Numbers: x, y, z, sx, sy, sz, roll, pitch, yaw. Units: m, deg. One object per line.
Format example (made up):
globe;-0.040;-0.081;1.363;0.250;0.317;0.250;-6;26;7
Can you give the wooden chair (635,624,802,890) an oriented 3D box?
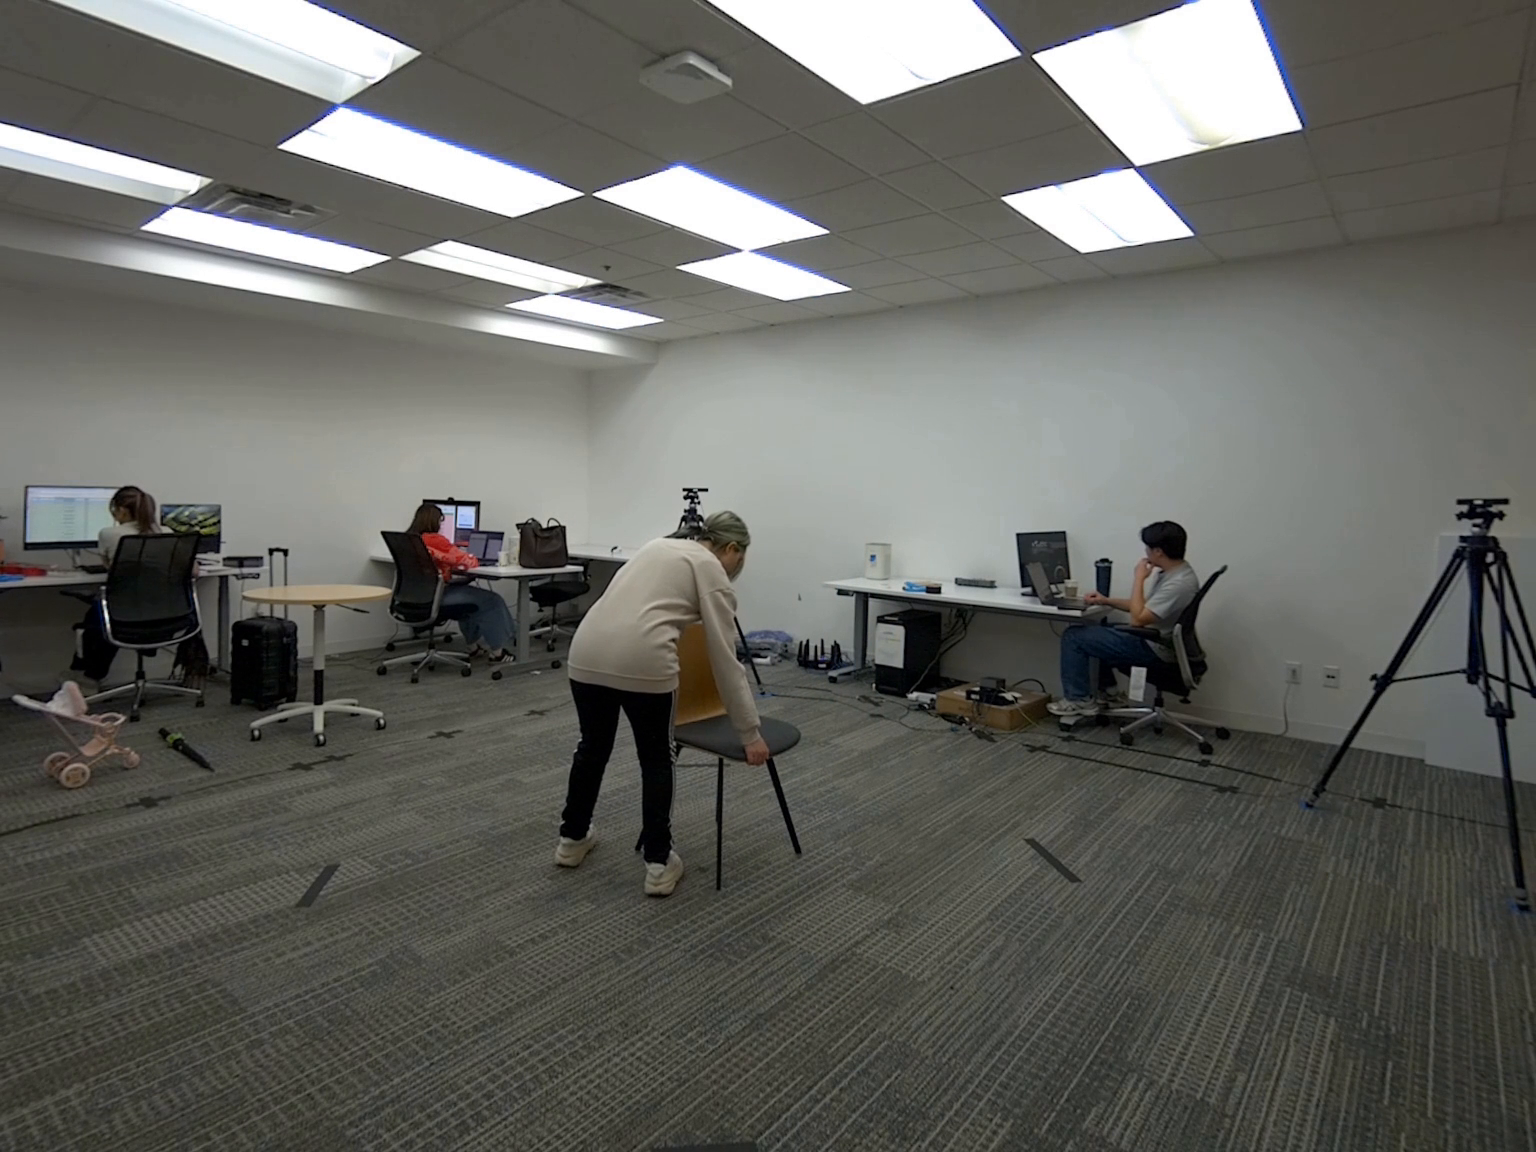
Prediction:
wooden chair;-0.177;0.633;3.238;0.539;0.877;0.463;-2;1;43
